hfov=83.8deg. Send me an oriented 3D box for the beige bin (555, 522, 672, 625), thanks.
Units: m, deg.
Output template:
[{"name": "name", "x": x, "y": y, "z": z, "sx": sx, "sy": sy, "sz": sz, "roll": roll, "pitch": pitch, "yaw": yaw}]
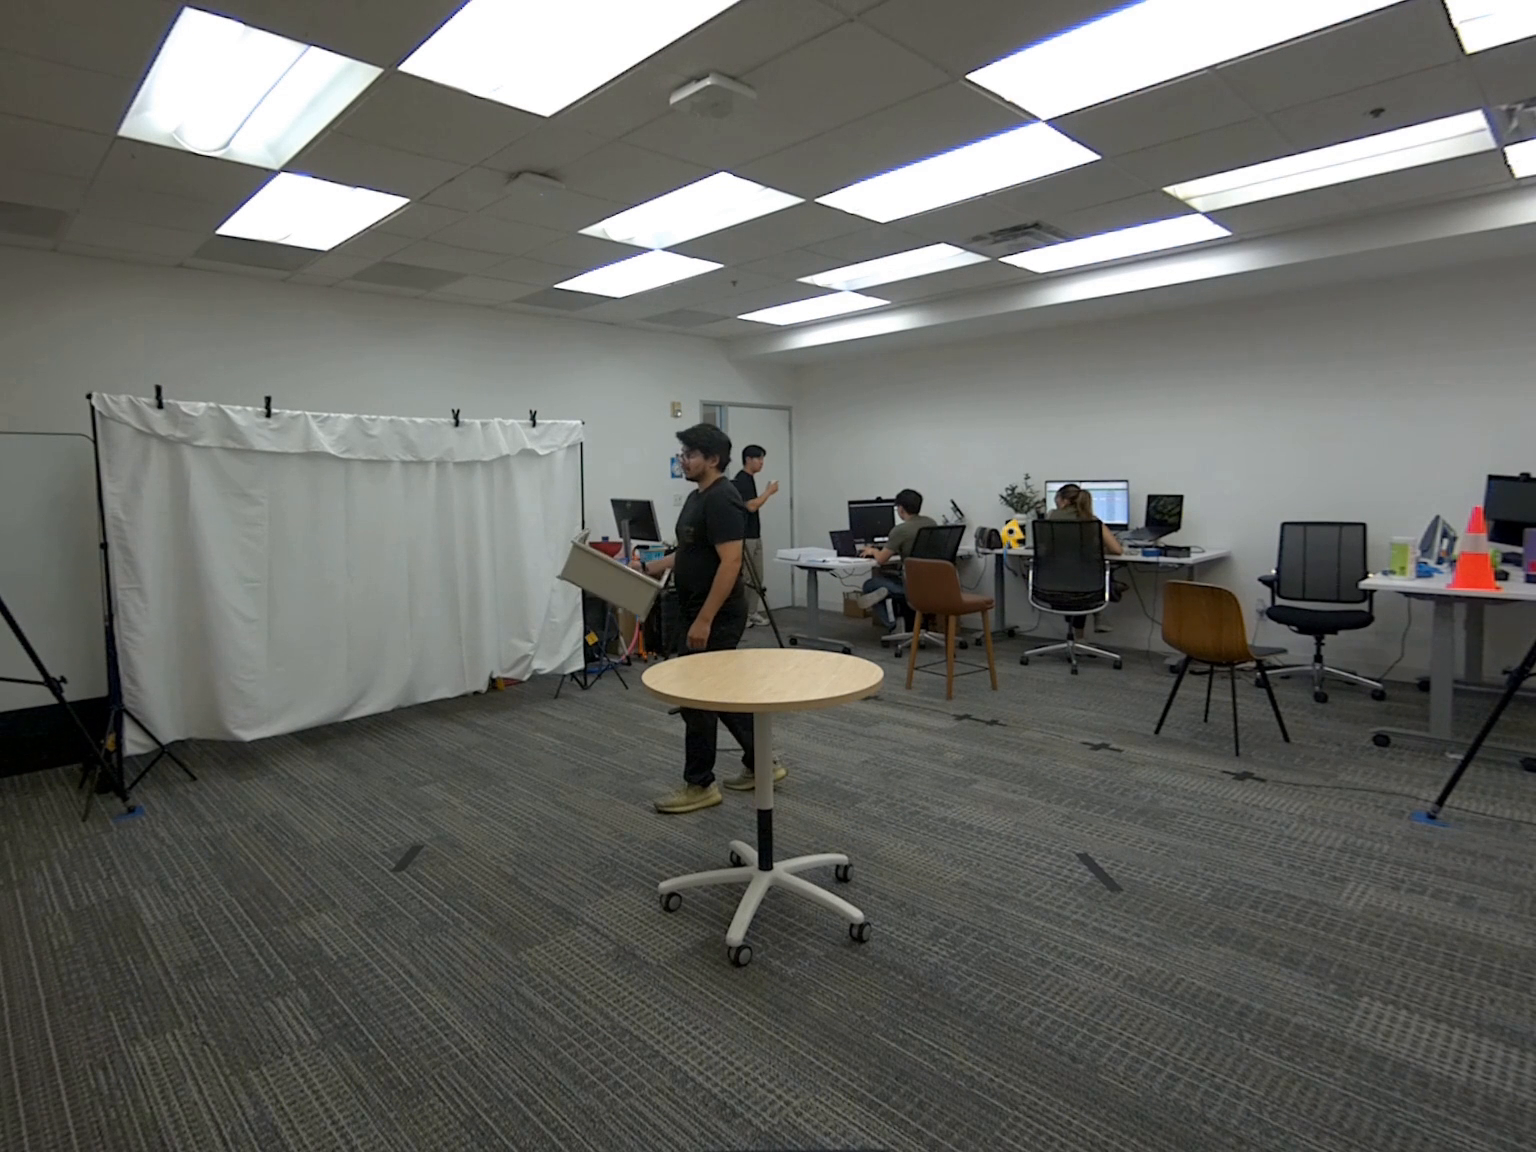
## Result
[{"name": "beige bin", "x": -0.647, "y": -0.021, "z": 3.707, "sx": 0.421, "sy": 0.188, "sz": 0.381, "roll": 26, "pitch": 12, "yaw": -4}]
